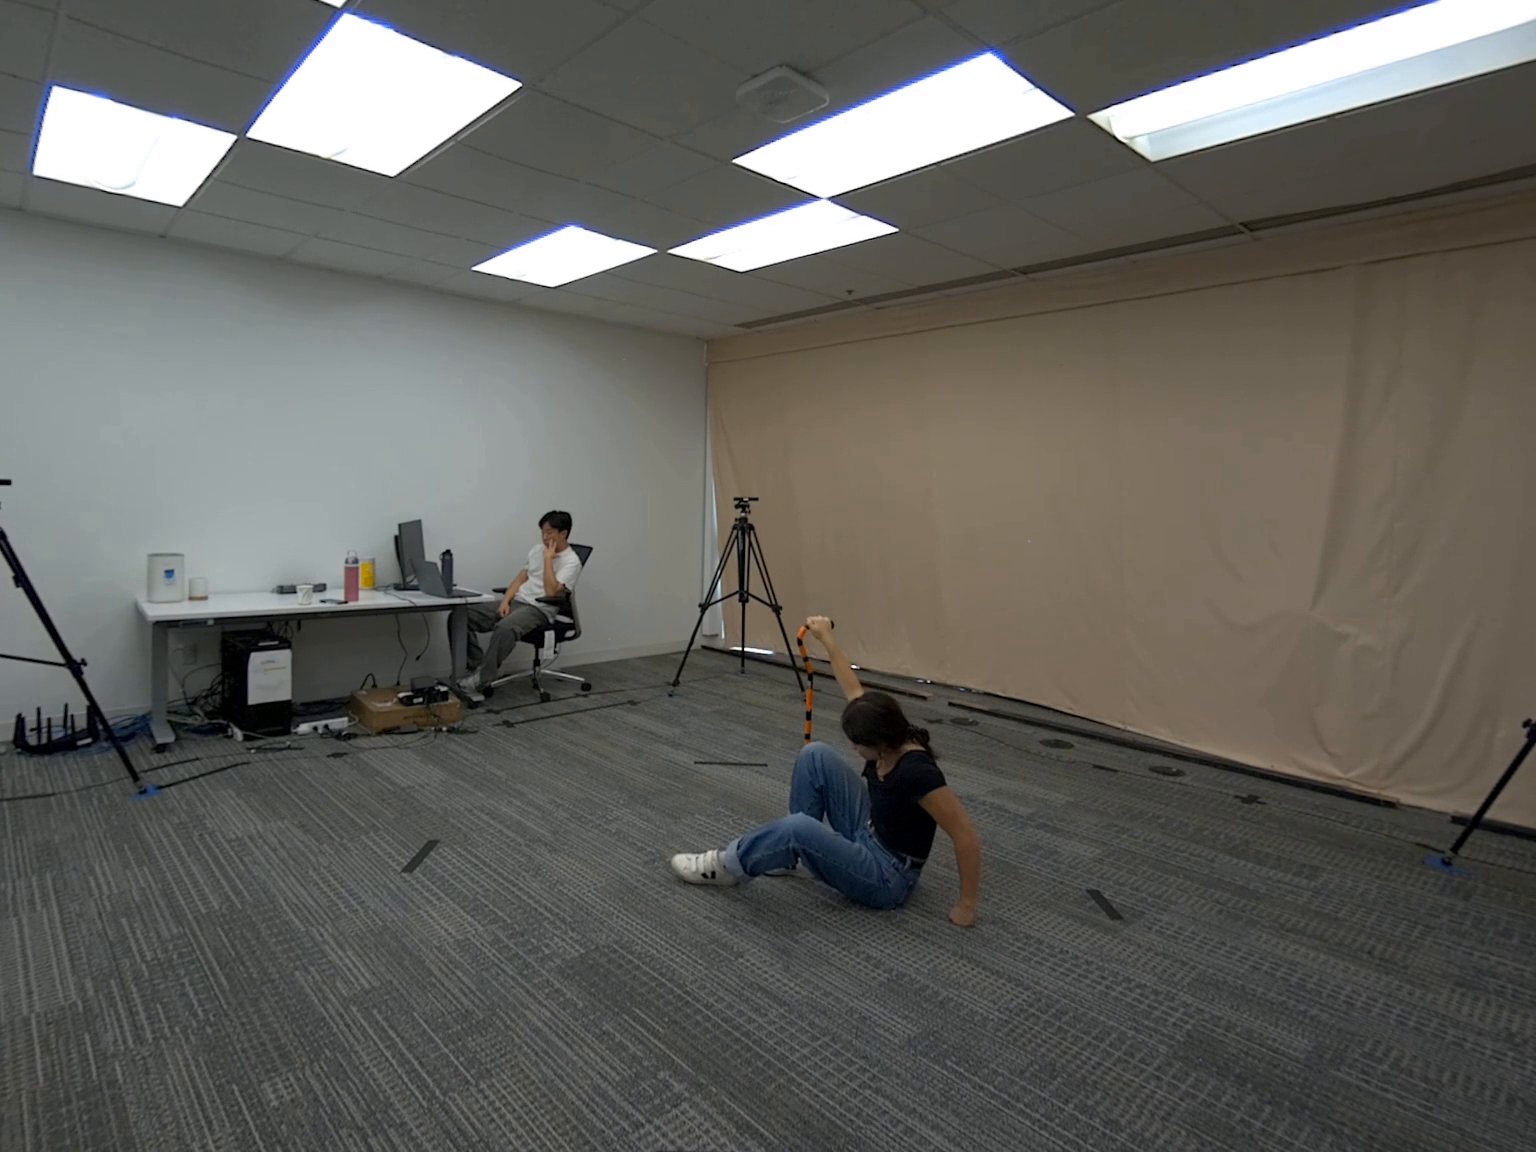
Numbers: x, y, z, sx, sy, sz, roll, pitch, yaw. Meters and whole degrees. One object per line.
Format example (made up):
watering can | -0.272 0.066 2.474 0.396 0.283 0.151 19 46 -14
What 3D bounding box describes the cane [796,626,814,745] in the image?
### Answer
cane | 0.138 0.635 3.382 0.202 0.905 0.155 -1 5 -30
